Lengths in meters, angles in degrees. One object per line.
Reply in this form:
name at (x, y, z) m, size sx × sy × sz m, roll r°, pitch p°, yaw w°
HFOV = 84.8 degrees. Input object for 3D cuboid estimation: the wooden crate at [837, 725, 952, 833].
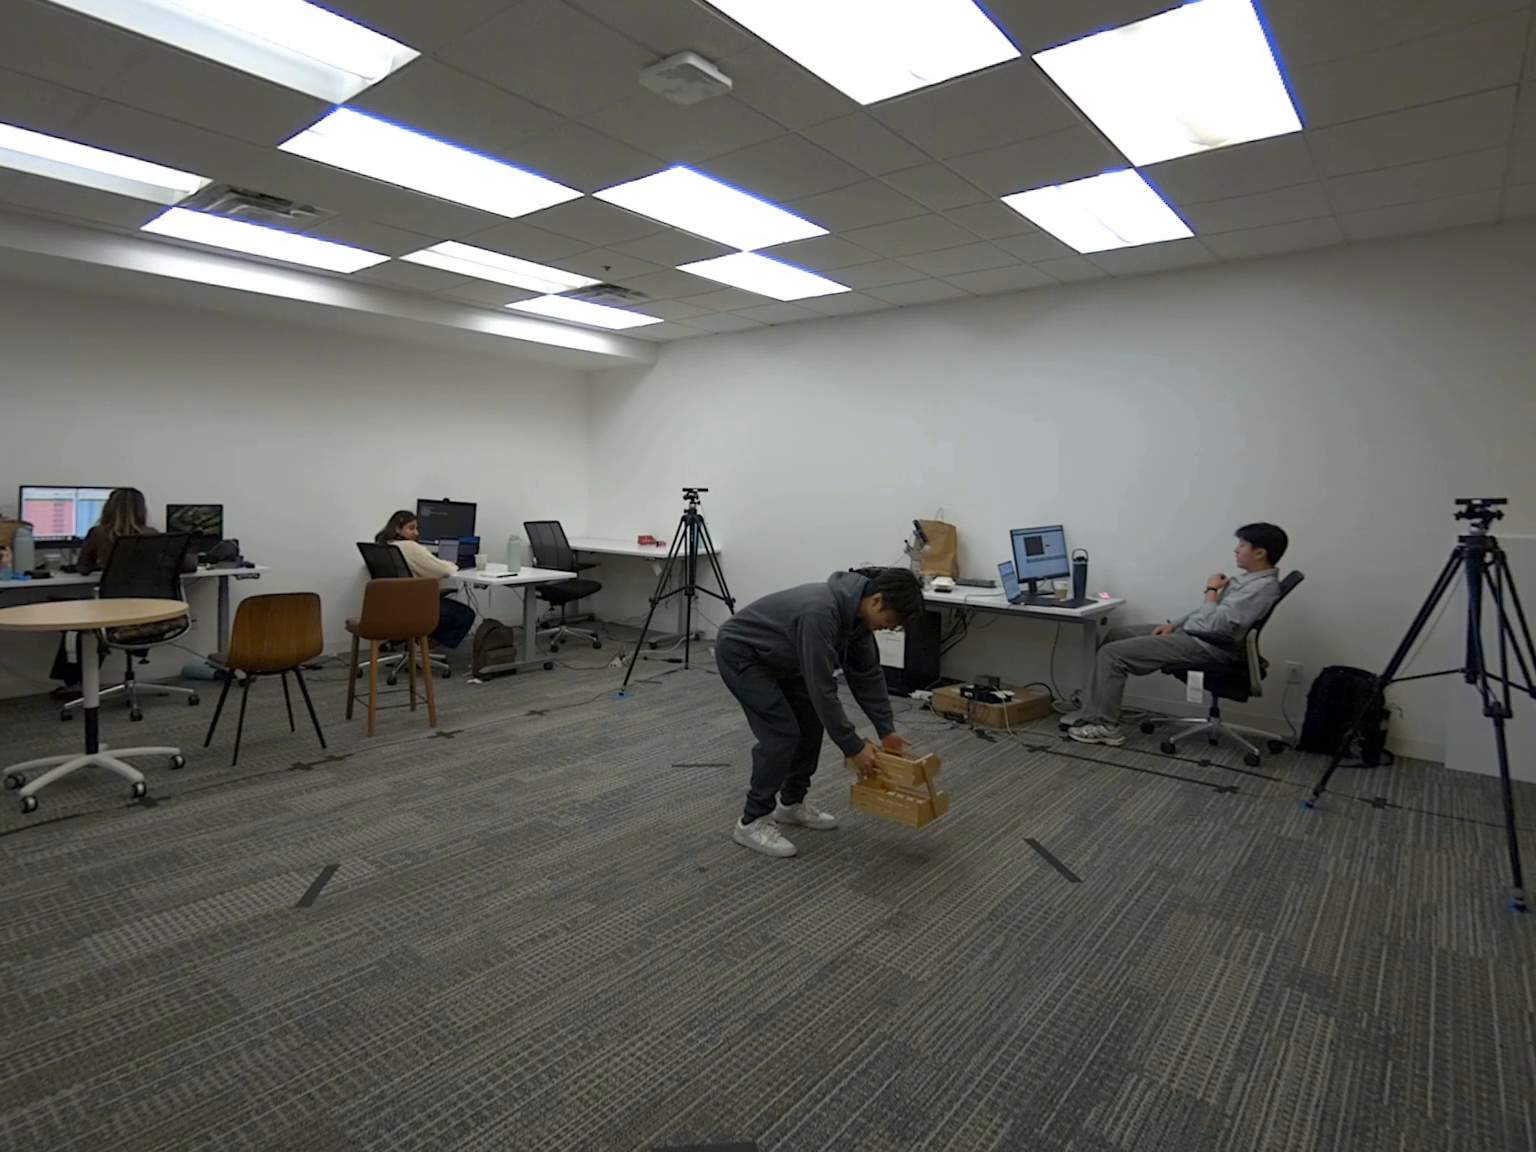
wooden crate at (0.493, 0.772, 3.281) m, size 0.335 × 0.272 × 0.293 m, roll 6°, pitch 7°, yaw 39°
